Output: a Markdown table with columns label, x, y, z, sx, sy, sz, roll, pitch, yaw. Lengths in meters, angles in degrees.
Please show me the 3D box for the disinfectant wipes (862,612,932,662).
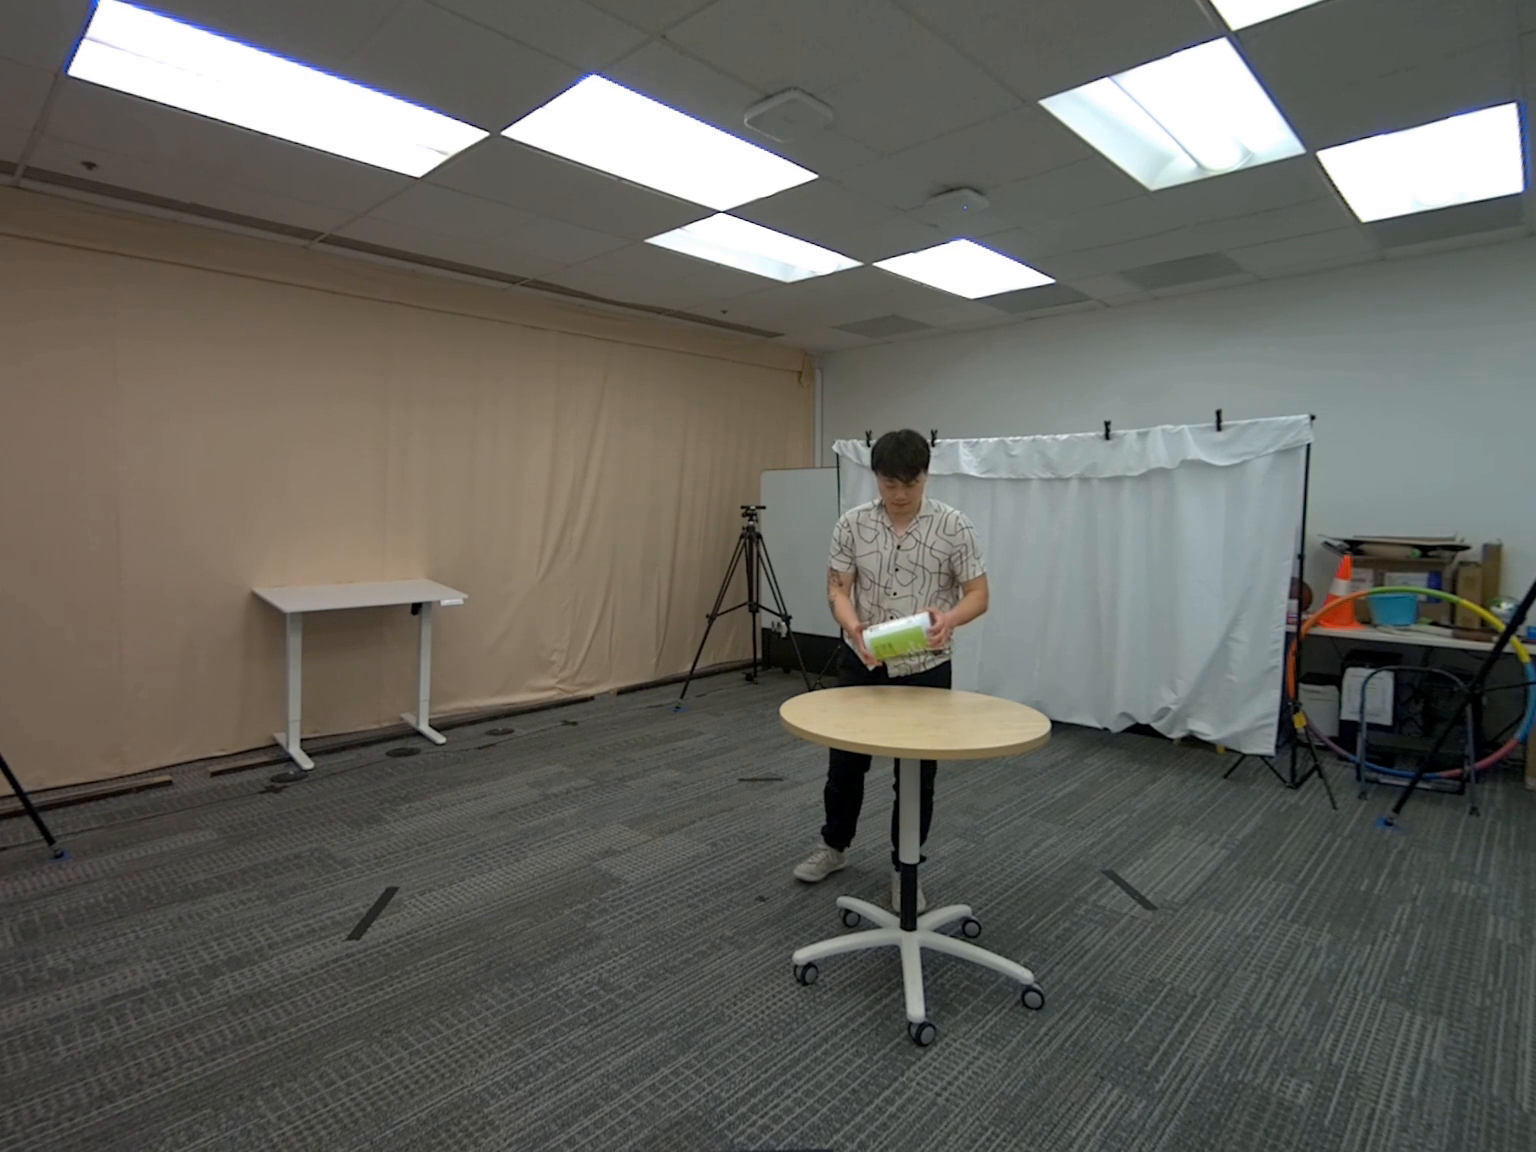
| label | x | y | z | sx | sy | sz | roll | pitch | yaw |
| --- | --- | --- | --- | --- | --- | --- | --- | --- | --- |
| disinfectant wipes | 0.419 | 0.189 | 2.656 | 0.221 | 0.118 | 0.115 | -20 | -3 | 21 |
